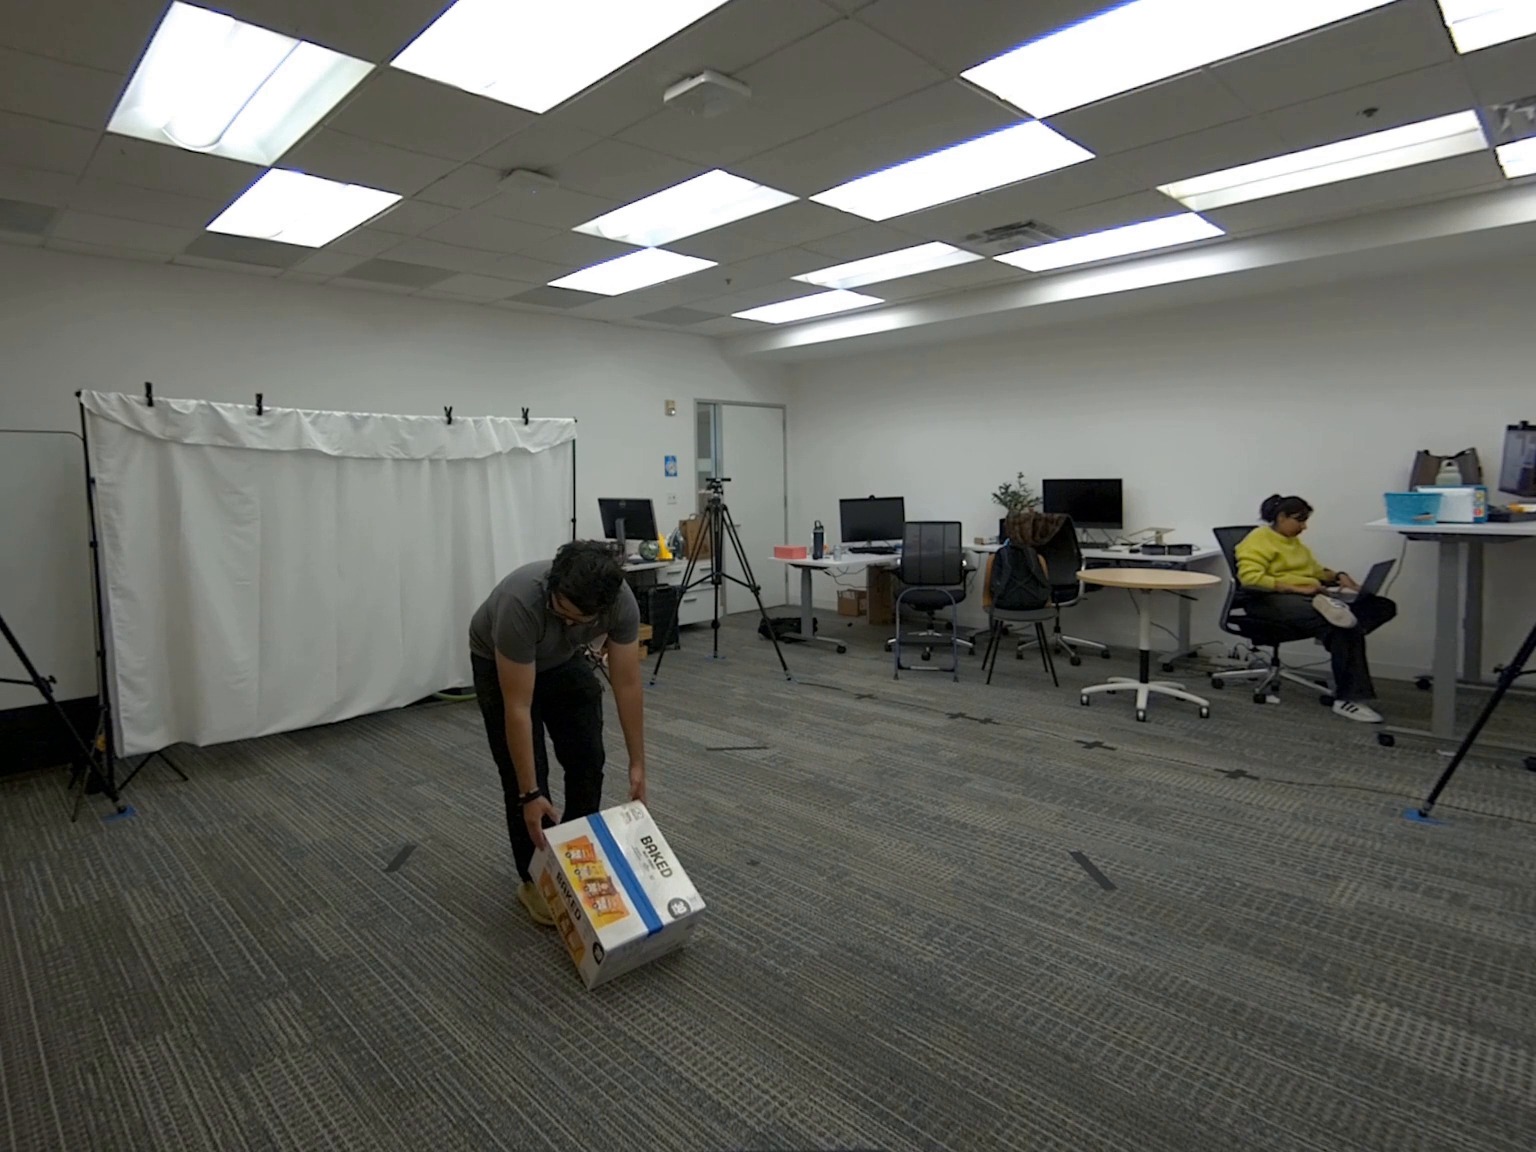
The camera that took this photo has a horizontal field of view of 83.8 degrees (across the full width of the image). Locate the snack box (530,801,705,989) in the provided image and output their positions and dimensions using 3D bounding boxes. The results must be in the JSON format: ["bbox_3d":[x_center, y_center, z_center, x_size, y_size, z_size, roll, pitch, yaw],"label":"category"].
[{"bbox_3d":[-0.448,0.925,2.520,0.332,0.203,0.421,-8,42,-39],"label":"snack box"}]
